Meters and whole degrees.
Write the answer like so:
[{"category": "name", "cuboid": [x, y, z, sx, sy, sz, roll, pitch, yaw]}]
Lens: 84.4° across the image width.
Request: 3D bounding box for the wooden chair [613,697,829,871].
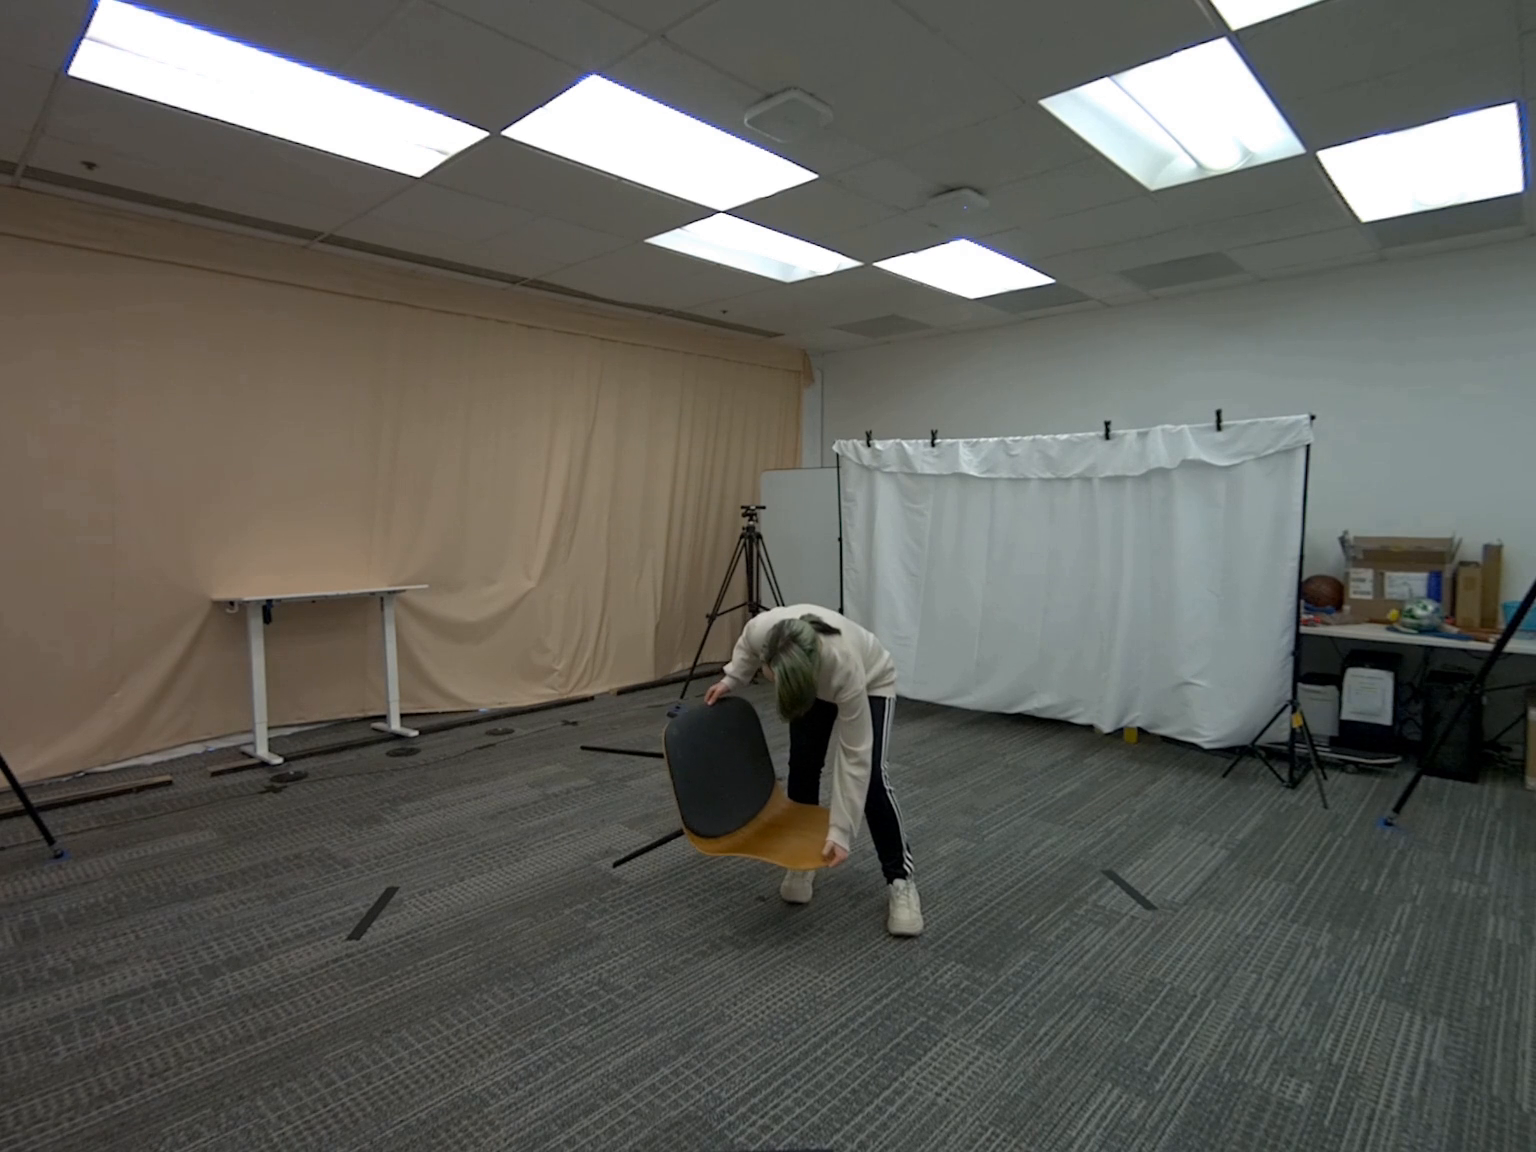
[{"category": "wooden chair", "cuboid": [-0.182, 0.709, 2.936, 0.902, 0.523, 0.465, -11, 1, 43]}]
